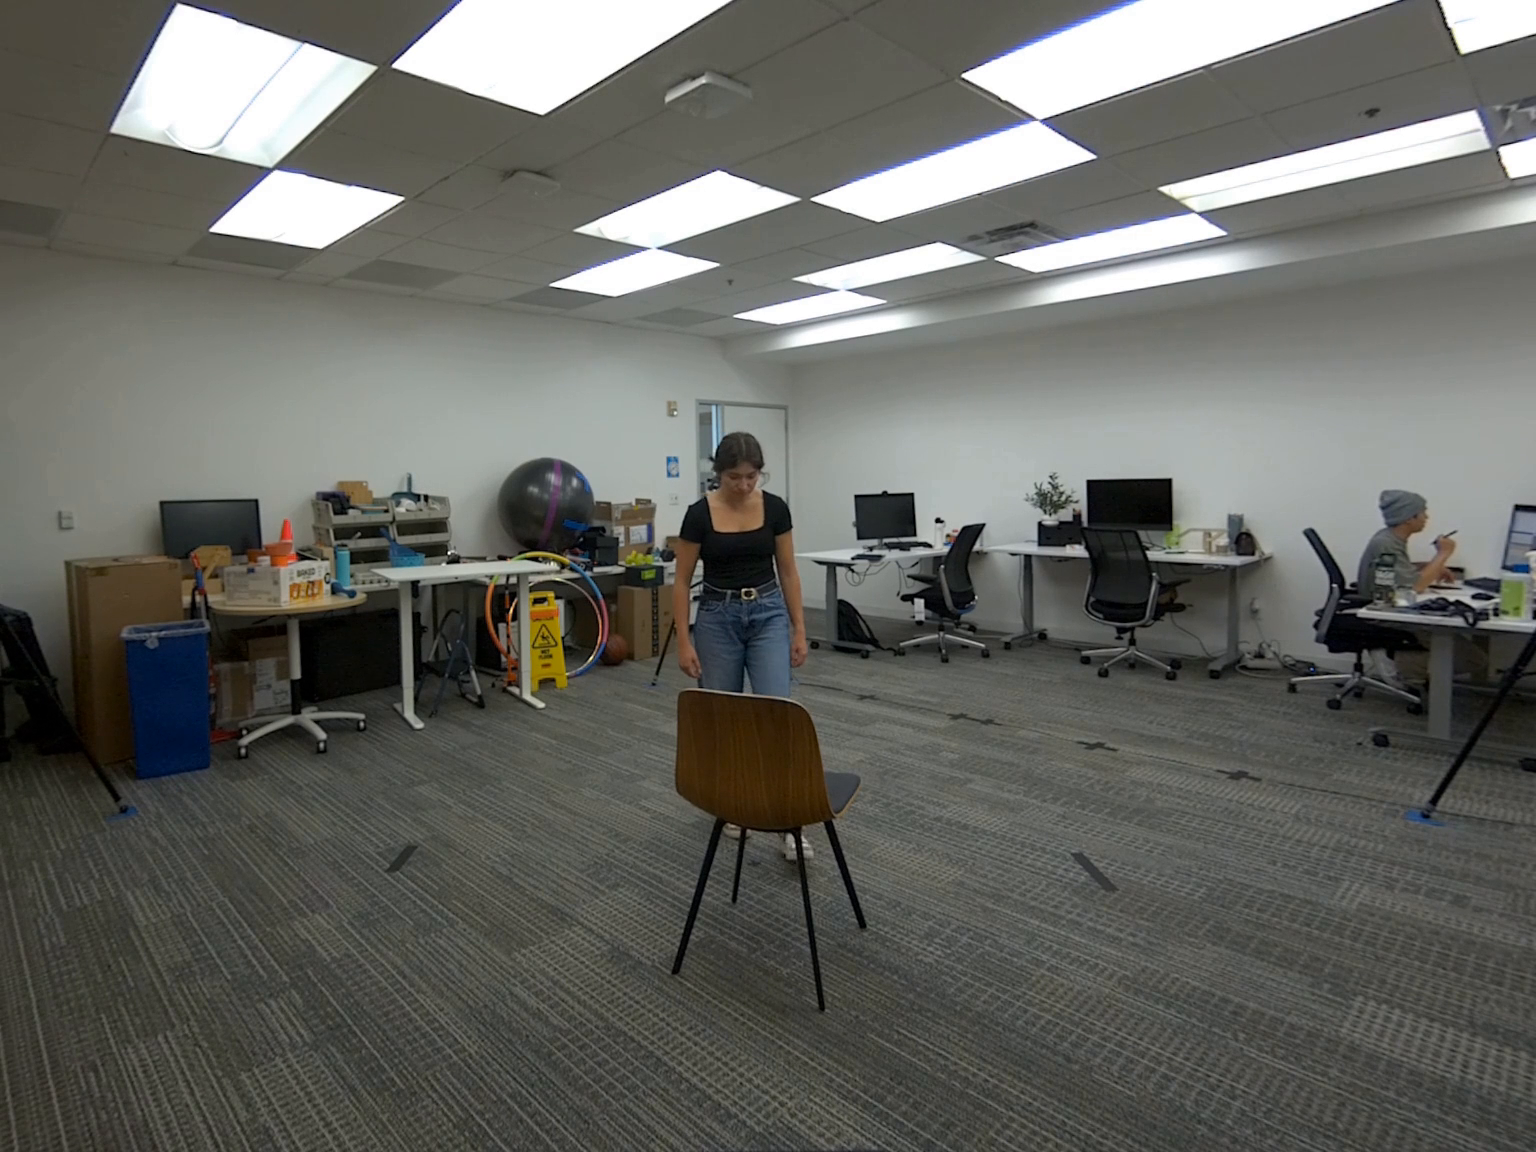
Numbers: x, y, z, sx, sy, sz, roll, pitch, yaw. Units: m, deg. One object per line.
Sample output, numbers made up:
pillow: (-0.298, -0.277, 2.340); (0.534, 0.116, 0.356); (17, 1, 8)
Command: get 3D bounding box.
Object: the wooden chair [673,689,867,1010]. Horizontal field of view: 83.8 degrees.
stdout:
wooden chair: (0.009, 0.691, 2.509); (0.488, 0.870, 0.516); (0, 9, 23)
